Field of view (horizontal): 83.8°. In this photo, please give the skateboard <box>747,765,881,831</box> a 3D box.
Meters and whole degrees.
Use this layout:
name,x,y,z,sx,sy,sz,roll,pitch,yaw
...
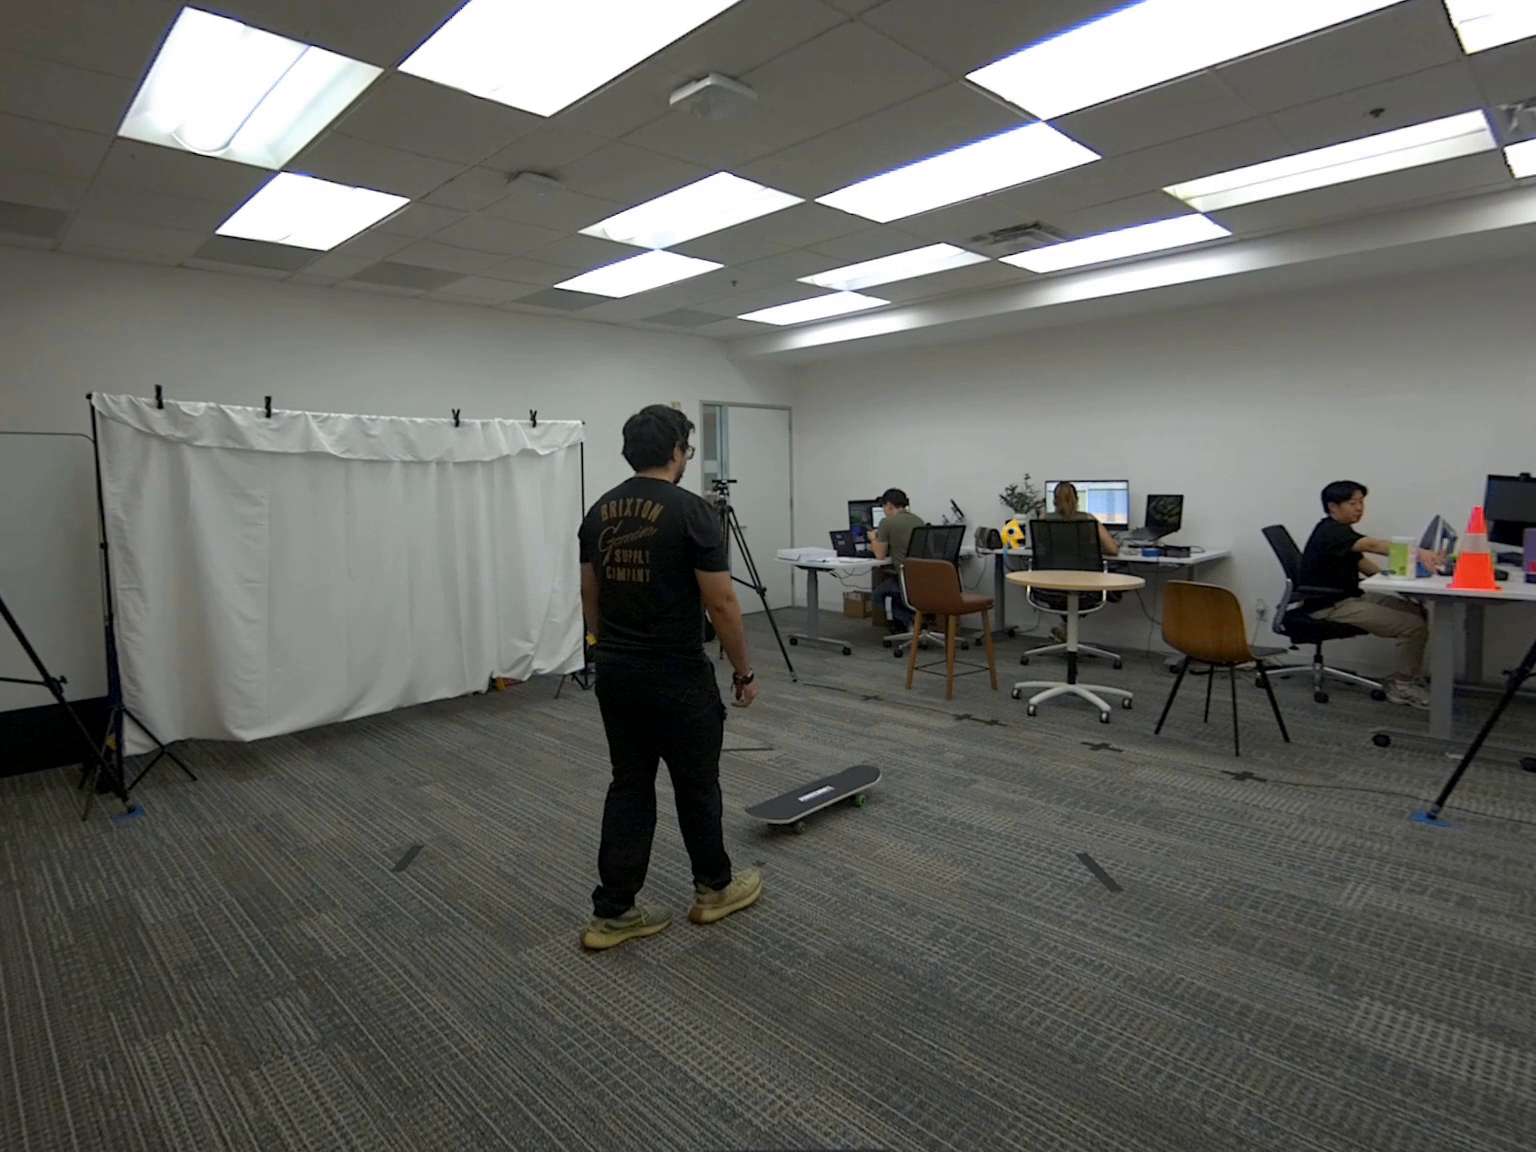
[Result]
name,x,y,z,sx,sy,sz,roll,pitch,yaw
skateboard,0.202,0.934,3.554,0.199,0.110,0.765,5,9,44
